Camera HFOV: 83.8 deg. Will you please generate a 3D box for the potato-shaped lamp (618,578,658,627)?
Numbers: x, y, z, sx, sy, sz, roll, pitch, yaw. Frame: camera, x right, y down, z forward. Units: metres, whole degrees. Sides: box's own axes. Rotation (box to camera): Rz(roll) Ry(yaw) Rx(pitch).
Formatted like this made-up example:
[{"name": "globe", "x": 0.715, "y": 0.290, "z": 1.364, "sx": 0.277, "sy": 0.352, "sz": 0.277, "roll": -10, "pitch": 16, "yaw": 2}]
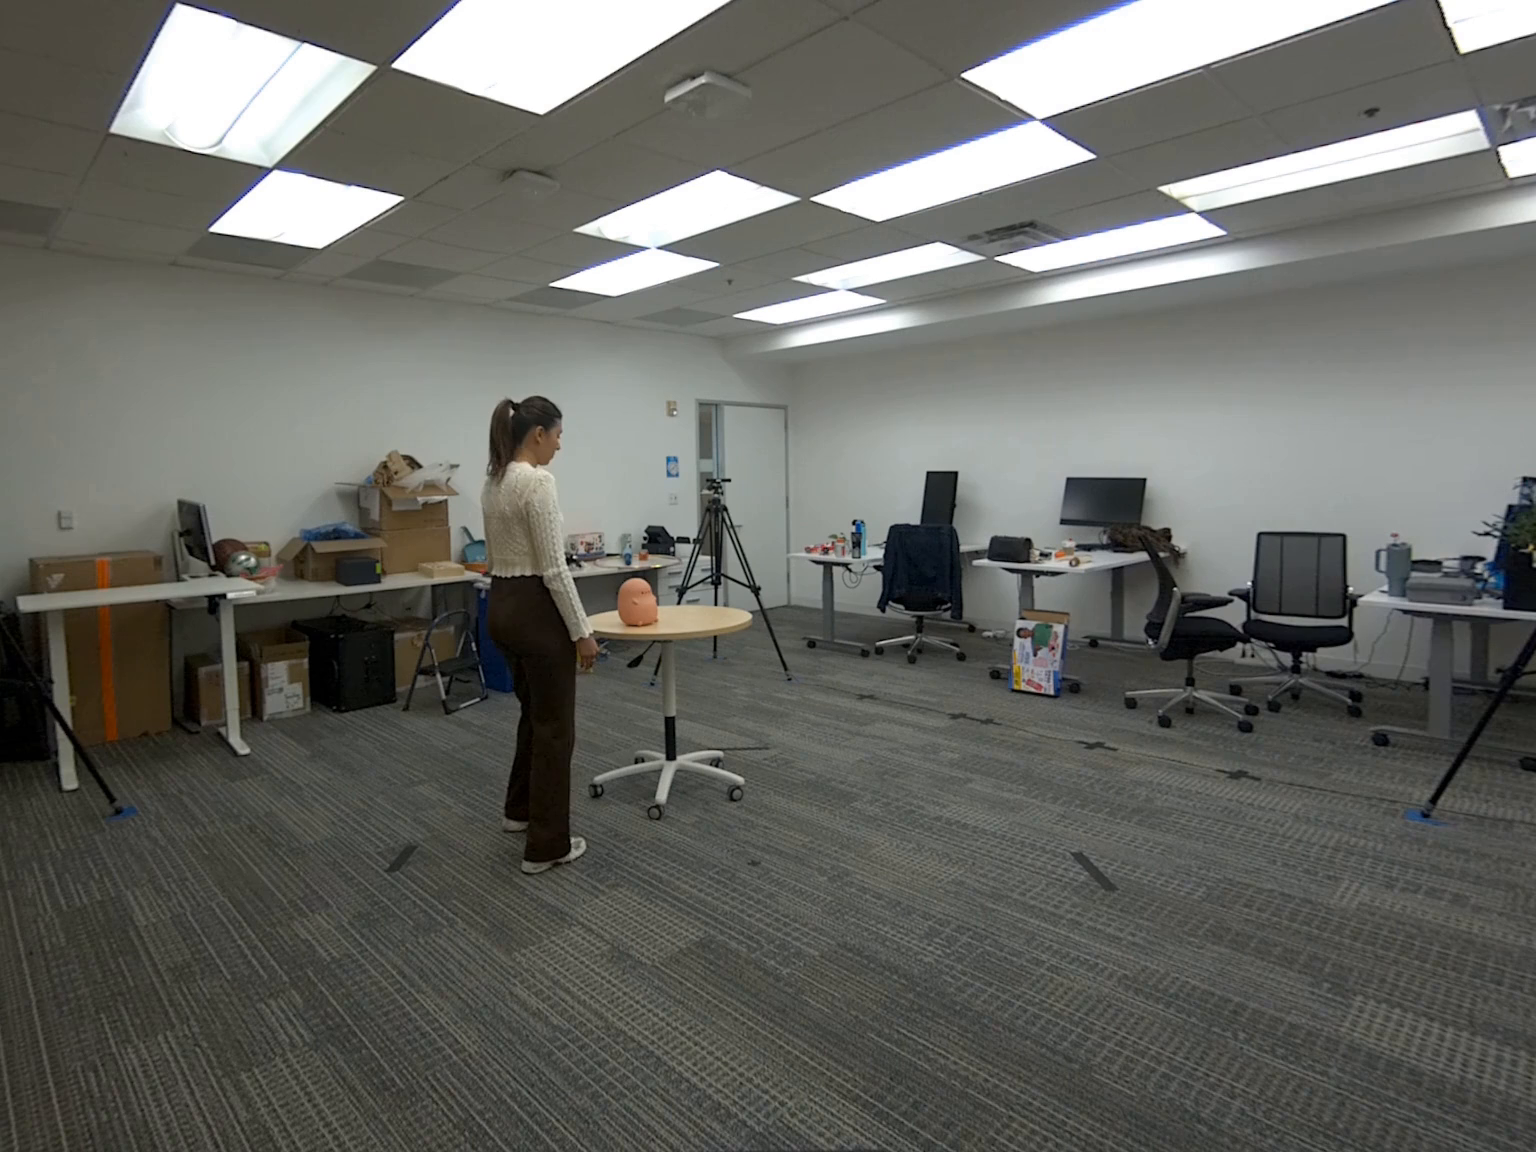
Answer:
[{"name": "potato-shaped lamp", "x": -0.559, "y": 0.109, "z": 3.679, "sx": 0.176, "sy": 0.197, "sz": 0.161, "roll": 0, "pitch": 7, "yaw": 40}]
